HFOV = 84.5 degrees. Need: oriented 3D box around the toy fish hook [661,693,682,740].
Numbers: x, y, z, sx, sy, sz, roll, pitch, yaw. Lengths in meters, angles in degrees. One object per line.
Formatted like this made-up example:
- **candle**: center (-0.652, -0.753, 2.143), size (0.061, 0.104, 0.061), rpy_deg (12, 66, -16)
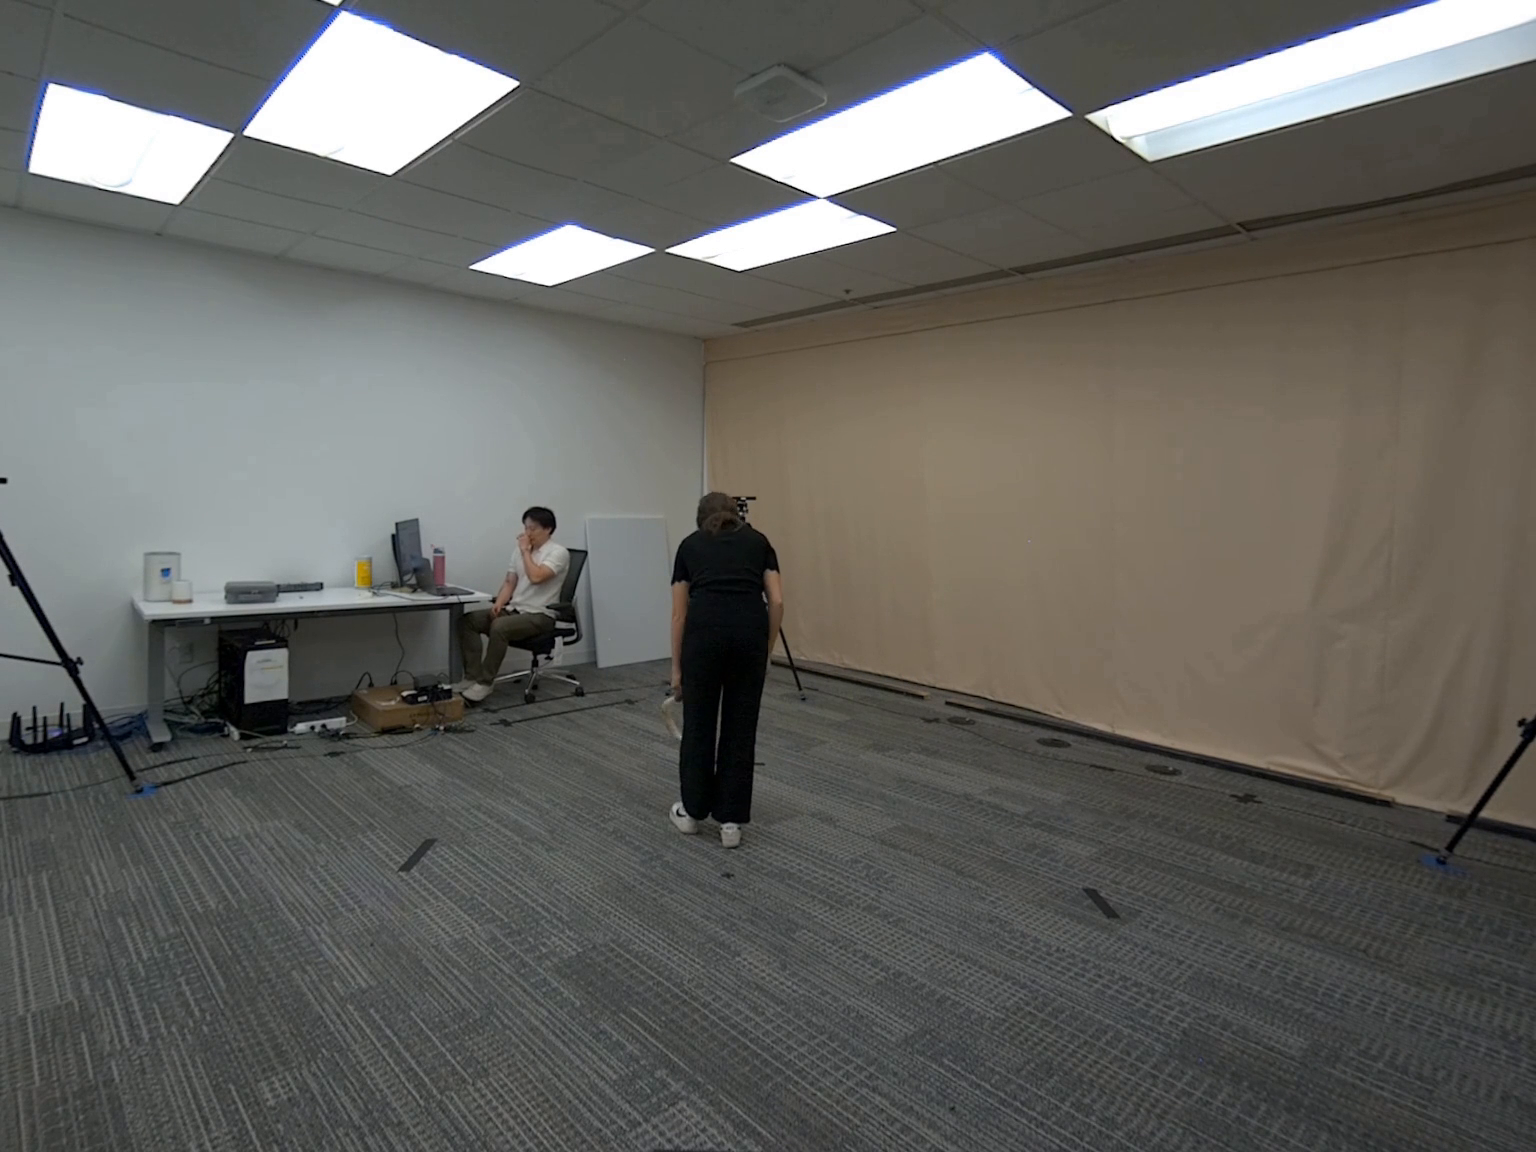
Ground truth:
- **toy fish hook**: center (-0.386, 0.606, 3.743), size (0.048, 0.229, 0.501), rpy_deg (-30, -21, -30)
